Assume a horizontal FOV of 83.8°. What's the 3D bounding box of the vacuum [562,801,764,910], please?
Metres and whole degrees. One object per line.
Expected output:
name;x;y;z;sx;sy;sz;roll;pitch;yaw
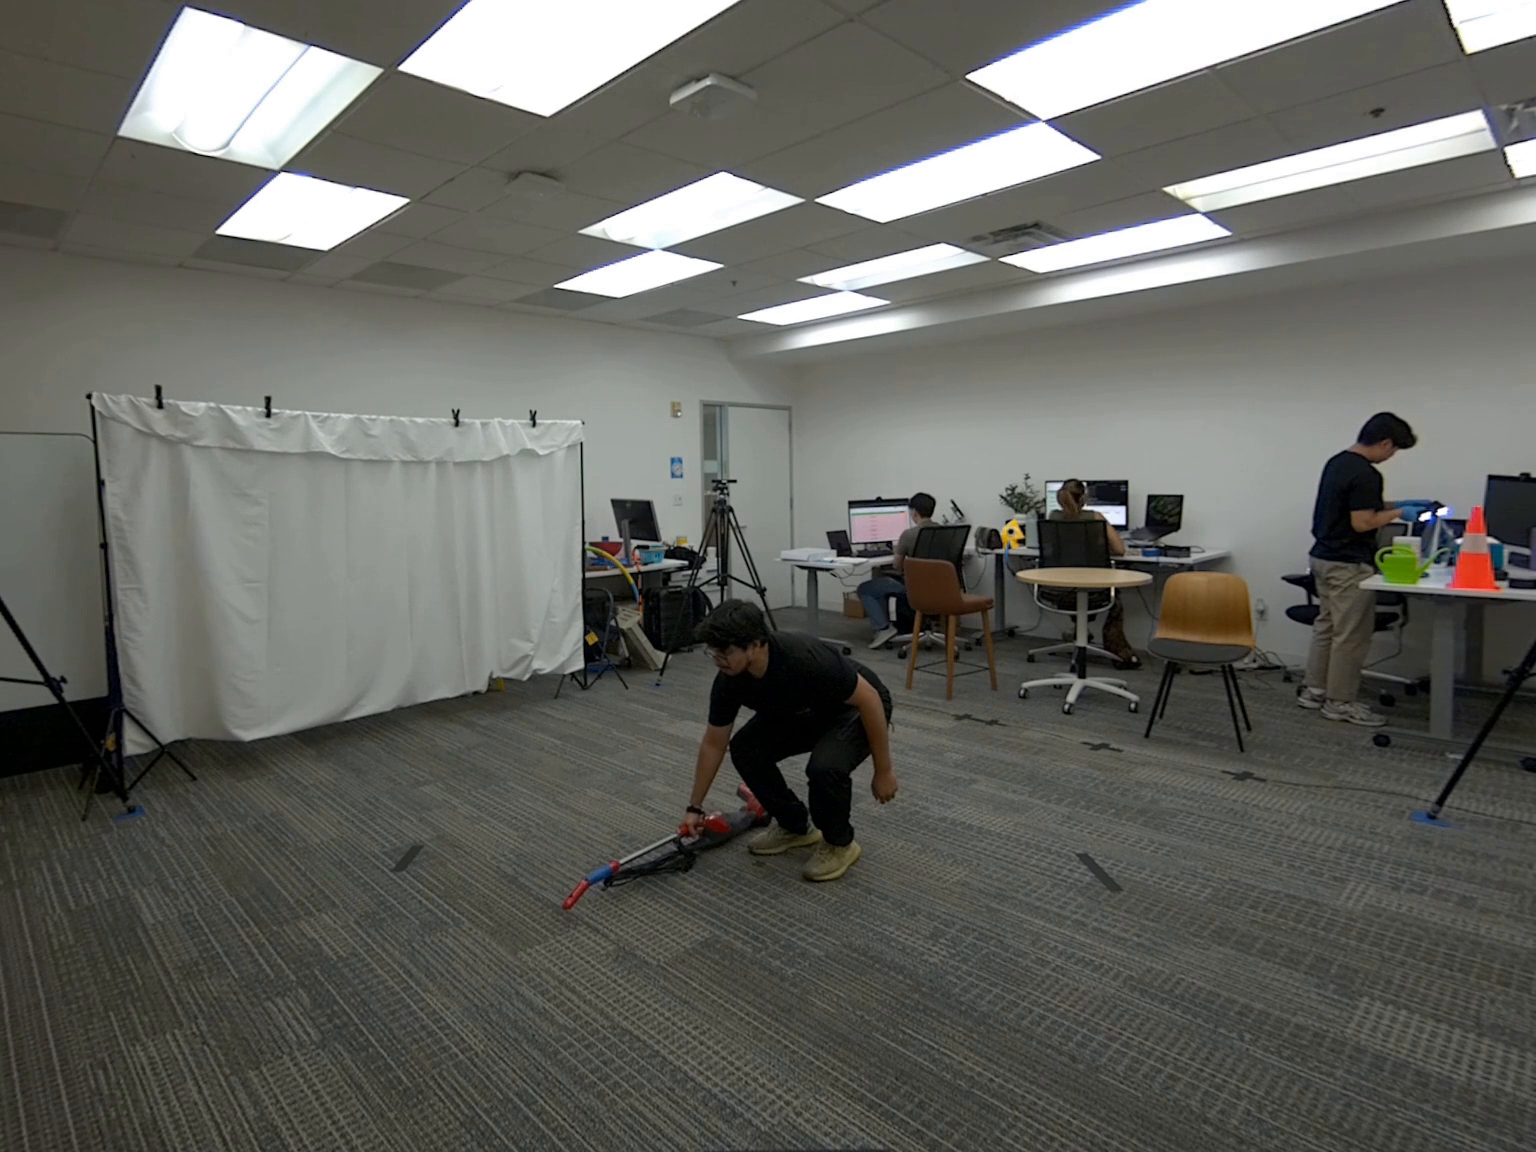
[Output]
vacuum;-0.333;0.993;3.104;0.260;0.143;1.024;2;8;36
